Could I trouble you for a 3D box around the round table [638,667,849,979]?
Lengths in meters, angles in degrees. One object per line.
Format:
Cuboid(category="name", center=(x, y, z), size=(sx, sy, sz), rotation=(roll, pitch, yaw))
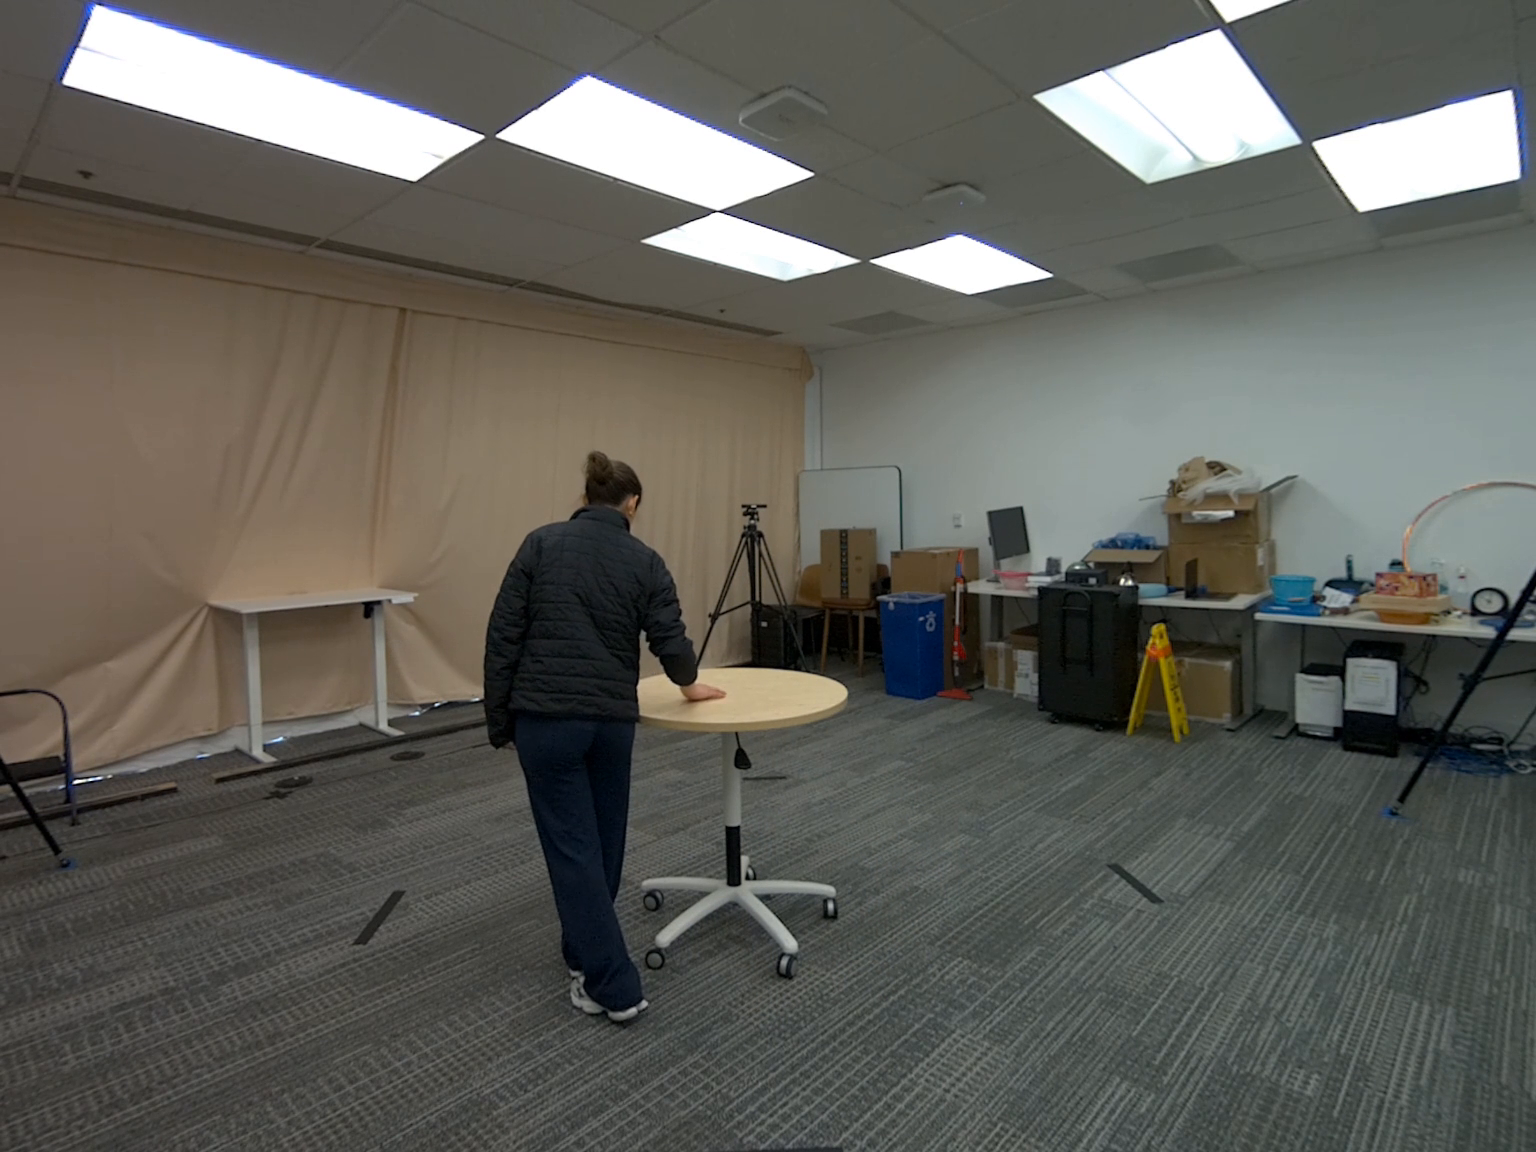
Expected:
Cuboid(category="round table", center=(-0.109, 0.765, 2.783), size=(0.784, 0.784, 0.788), rotation=(-2, 4, -2))
